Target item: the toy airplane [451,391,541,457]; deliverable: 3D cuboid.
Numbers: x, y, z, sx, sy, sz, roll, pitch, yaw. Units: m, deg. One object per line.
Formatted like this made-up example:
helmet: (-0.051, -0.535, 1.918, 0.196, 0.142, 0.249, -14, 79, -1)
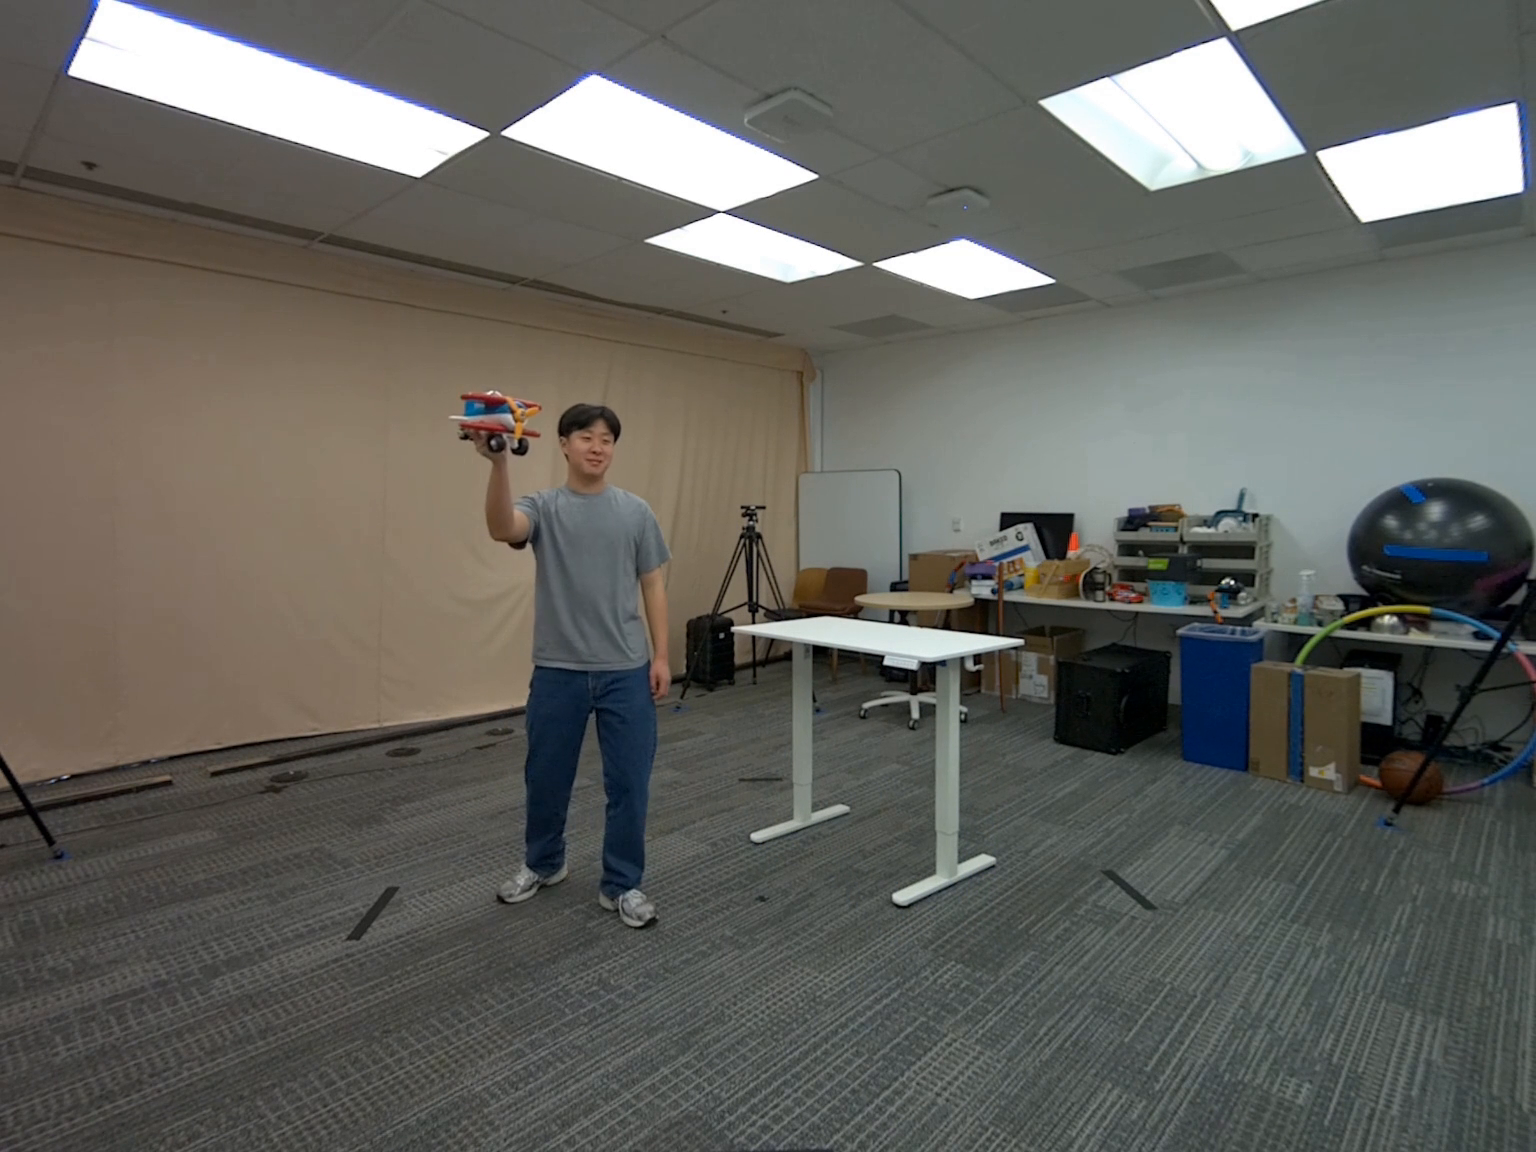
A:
toy airplane: (-0.798, -0.438, 2.384, 0.261, 0.156, 0.250, 16, 9, 6)
